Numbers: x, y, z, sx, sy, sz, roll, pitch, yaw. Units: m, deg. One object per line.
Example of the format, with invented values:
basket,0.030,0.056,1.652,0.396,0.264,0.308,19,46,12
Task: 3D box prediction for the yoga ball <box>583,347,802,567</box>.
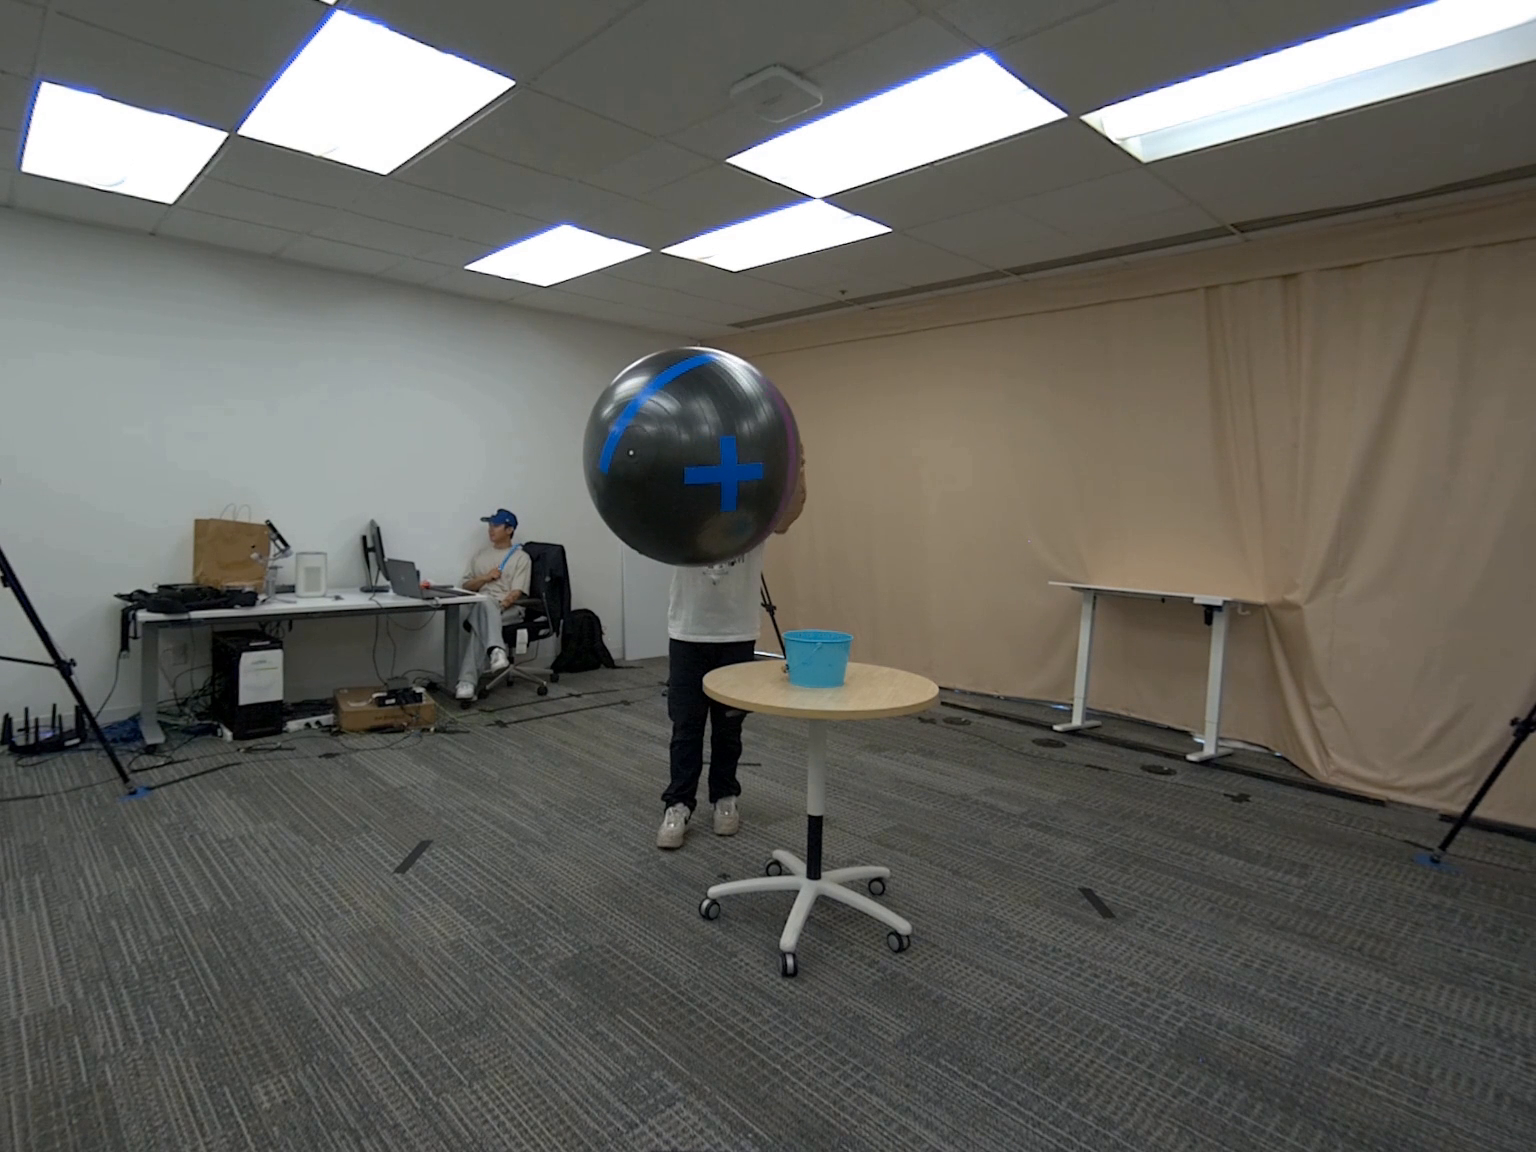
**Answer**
yoga ball,-0.268,-0.404,2.926,0.757,0.756,0.761,1,4,-1
